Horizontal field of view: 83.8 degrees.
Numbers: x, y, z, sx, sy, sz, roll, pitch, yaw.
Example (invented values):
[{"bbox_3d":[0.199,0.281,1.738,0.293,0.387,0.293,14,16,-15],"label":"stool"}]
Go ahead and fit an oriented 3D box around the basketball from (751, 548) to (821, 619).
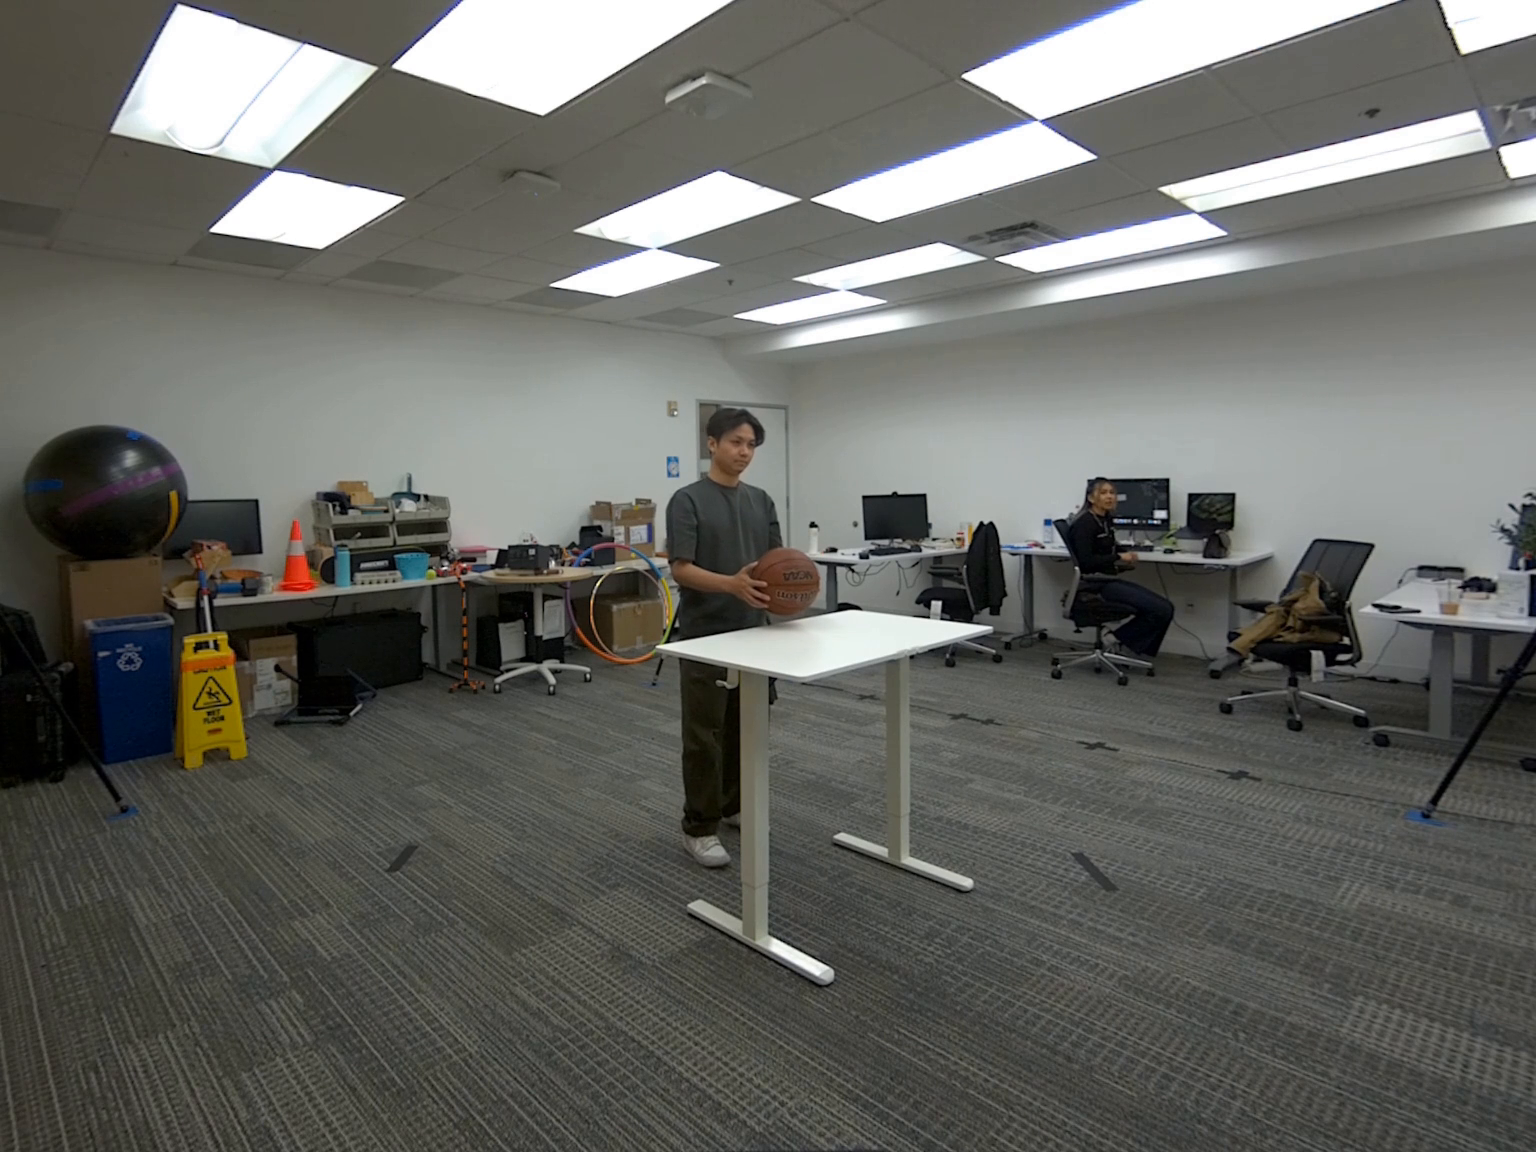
[{"bbox_3d":[0.056,0.020,2.978,0.236,0.235,0.237,-1,5,-2],"label":"basketball"}]
